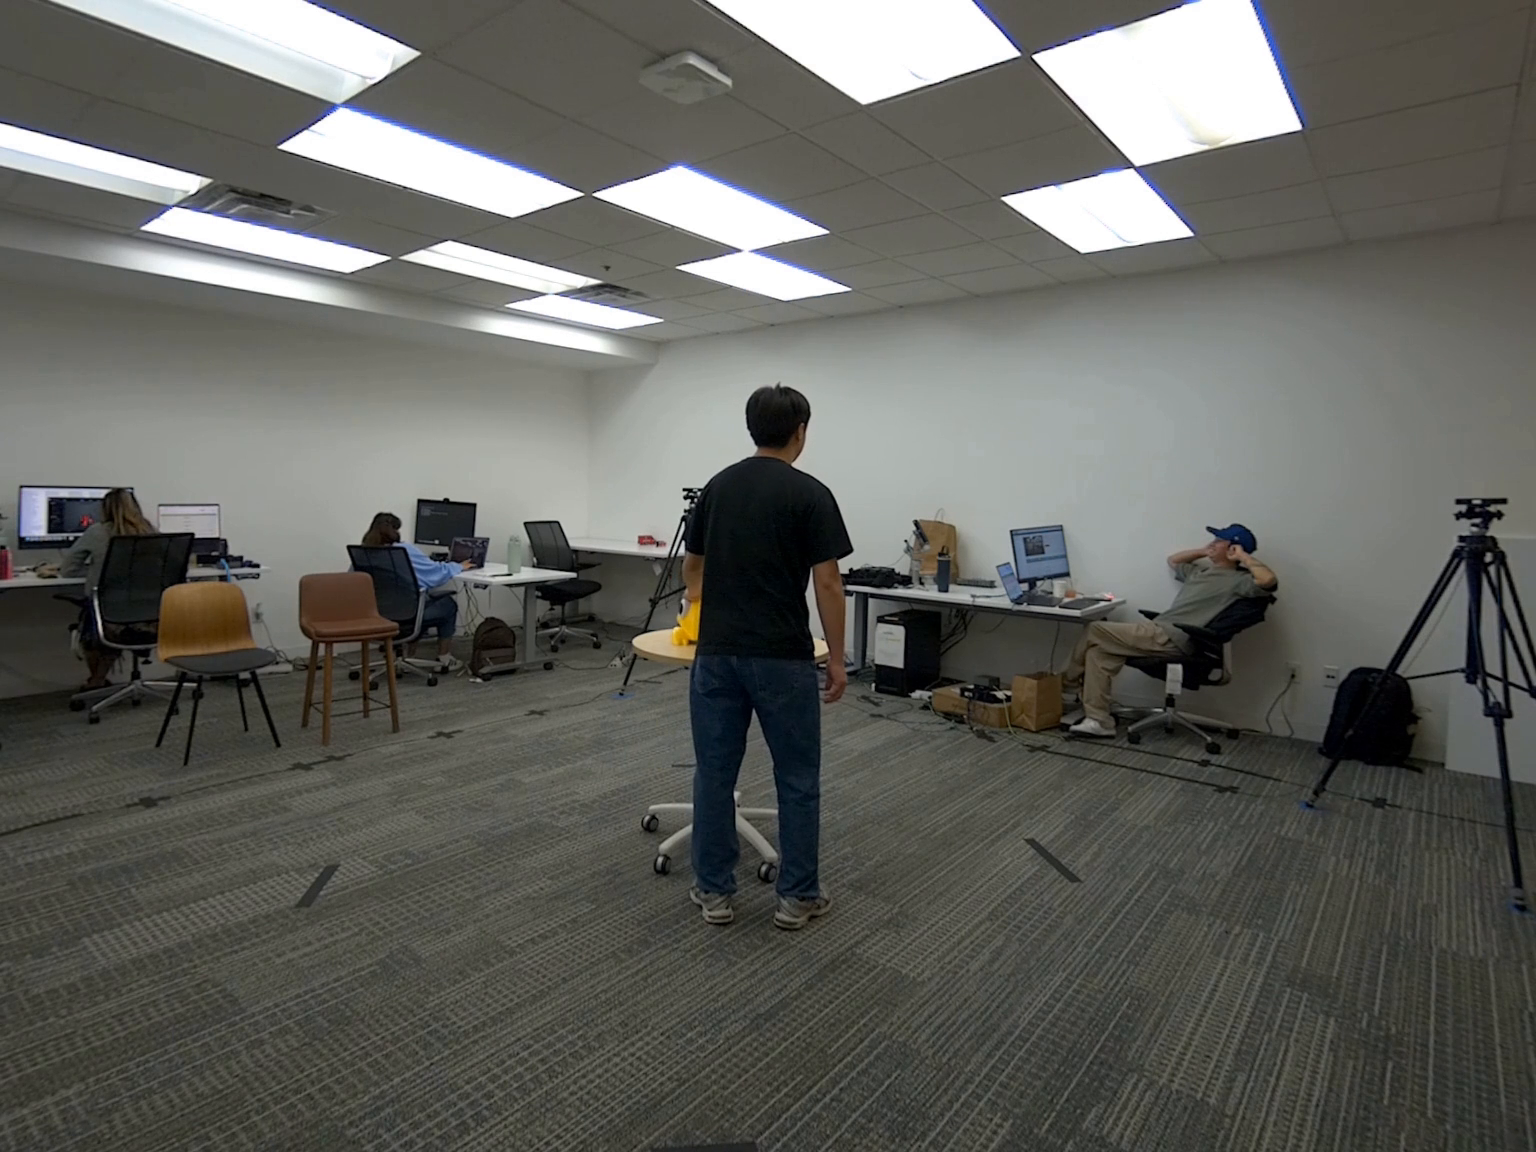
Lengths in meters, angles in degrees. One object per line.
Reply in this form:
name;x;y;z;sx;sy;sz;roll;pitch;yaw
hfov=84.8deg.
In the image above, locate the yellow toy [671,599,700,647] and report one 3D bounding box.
yellow toy;-0.278;0.139;3.284;0.207;0.230;0.192;0;4;8
